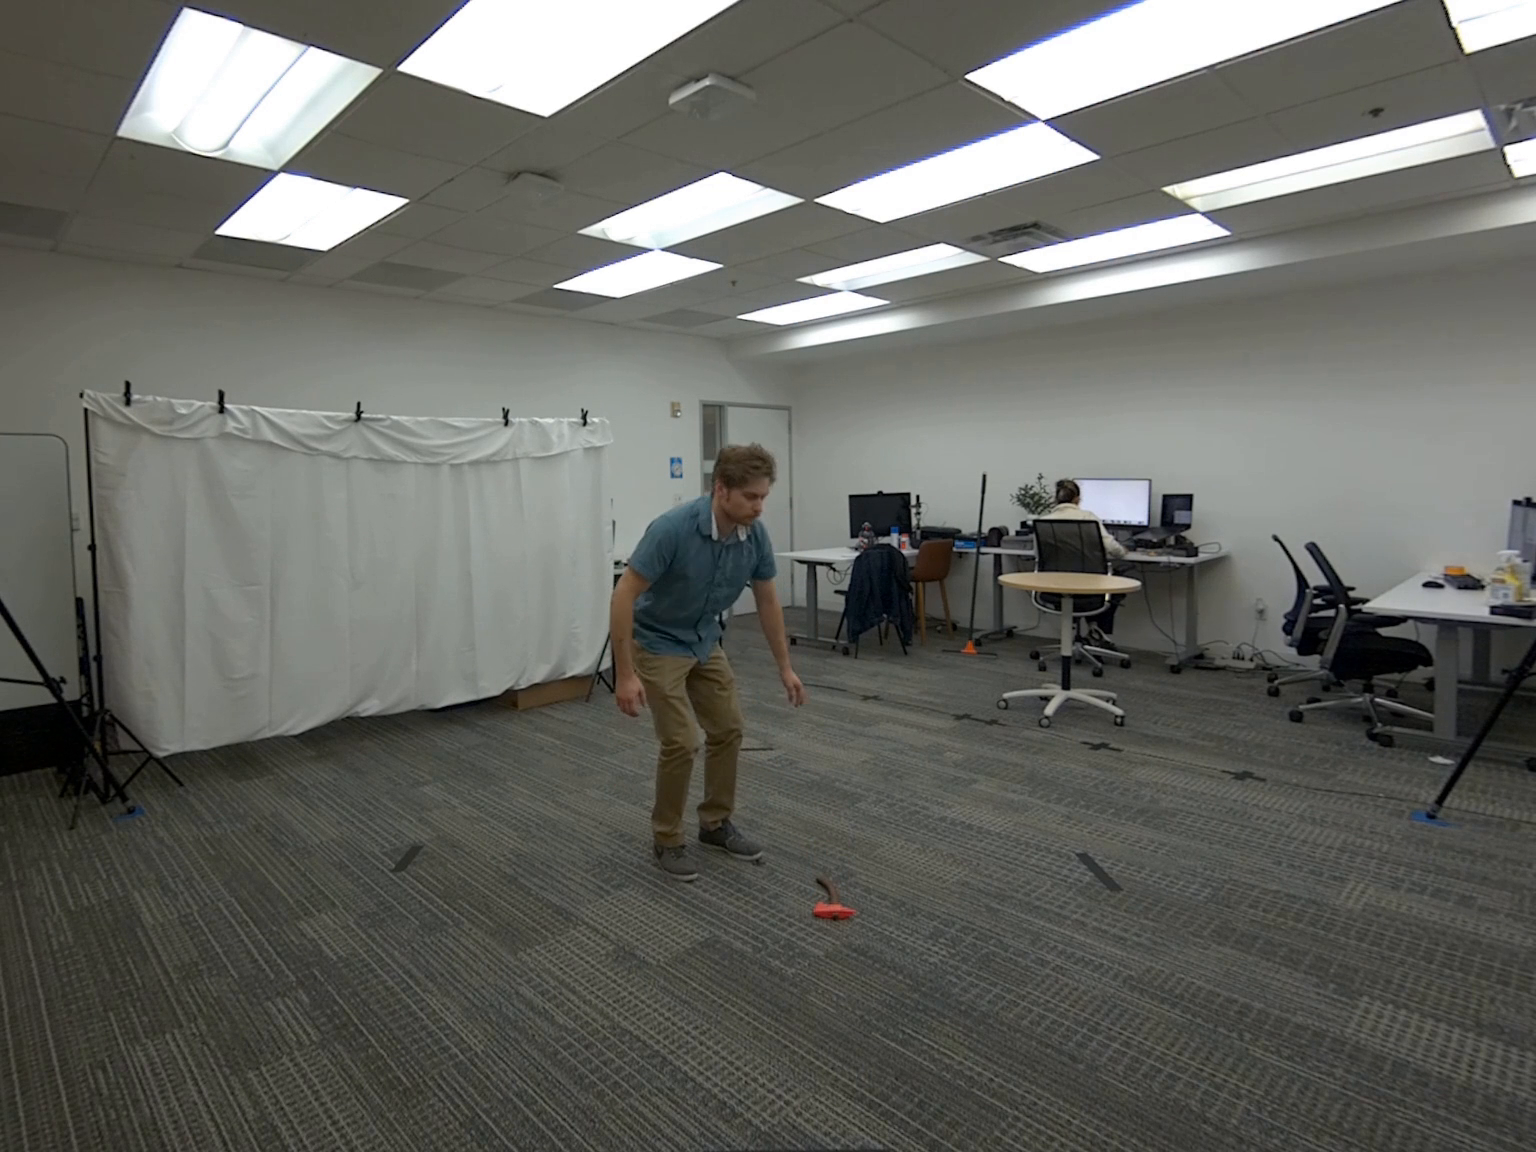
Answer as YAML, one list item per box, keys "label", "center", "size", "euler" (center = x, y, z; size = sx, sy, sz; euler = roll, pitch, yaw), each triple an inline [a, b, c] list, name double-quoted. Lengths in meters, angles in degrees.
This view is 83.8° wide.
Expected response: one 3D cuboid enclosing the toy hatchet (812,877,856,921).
- label: "toy hatchet"
  center: [0.183, 1.067, 2.823]
  size: [0.129, 0.029, 0.275]
  euler: [-5, 5, -17]
